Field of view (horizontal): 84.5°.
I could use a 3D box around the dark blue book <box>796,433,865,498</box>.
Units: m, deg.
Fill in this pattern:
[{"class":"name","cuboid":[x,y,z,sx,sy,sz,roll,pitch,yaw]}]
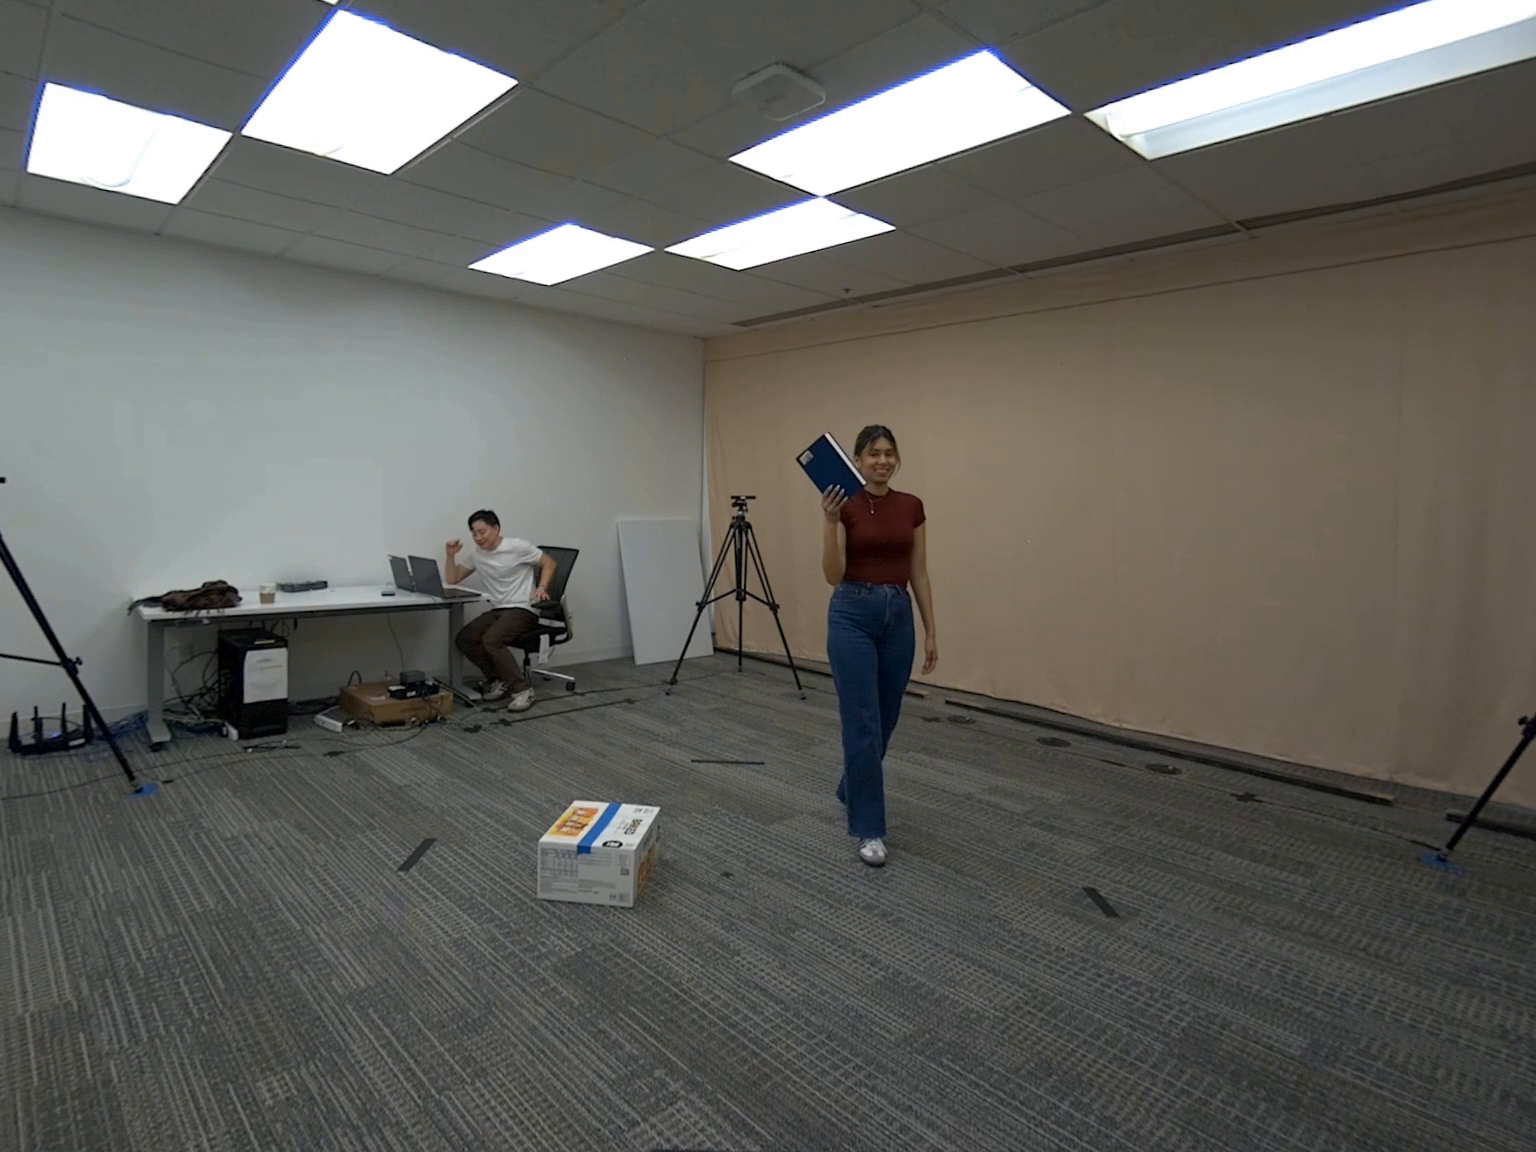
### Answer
[{"class":"dark blue book","cuboid":[0.231,-0.396,3.155,0.164,0.246,0.045,-39,-4,35]}]
